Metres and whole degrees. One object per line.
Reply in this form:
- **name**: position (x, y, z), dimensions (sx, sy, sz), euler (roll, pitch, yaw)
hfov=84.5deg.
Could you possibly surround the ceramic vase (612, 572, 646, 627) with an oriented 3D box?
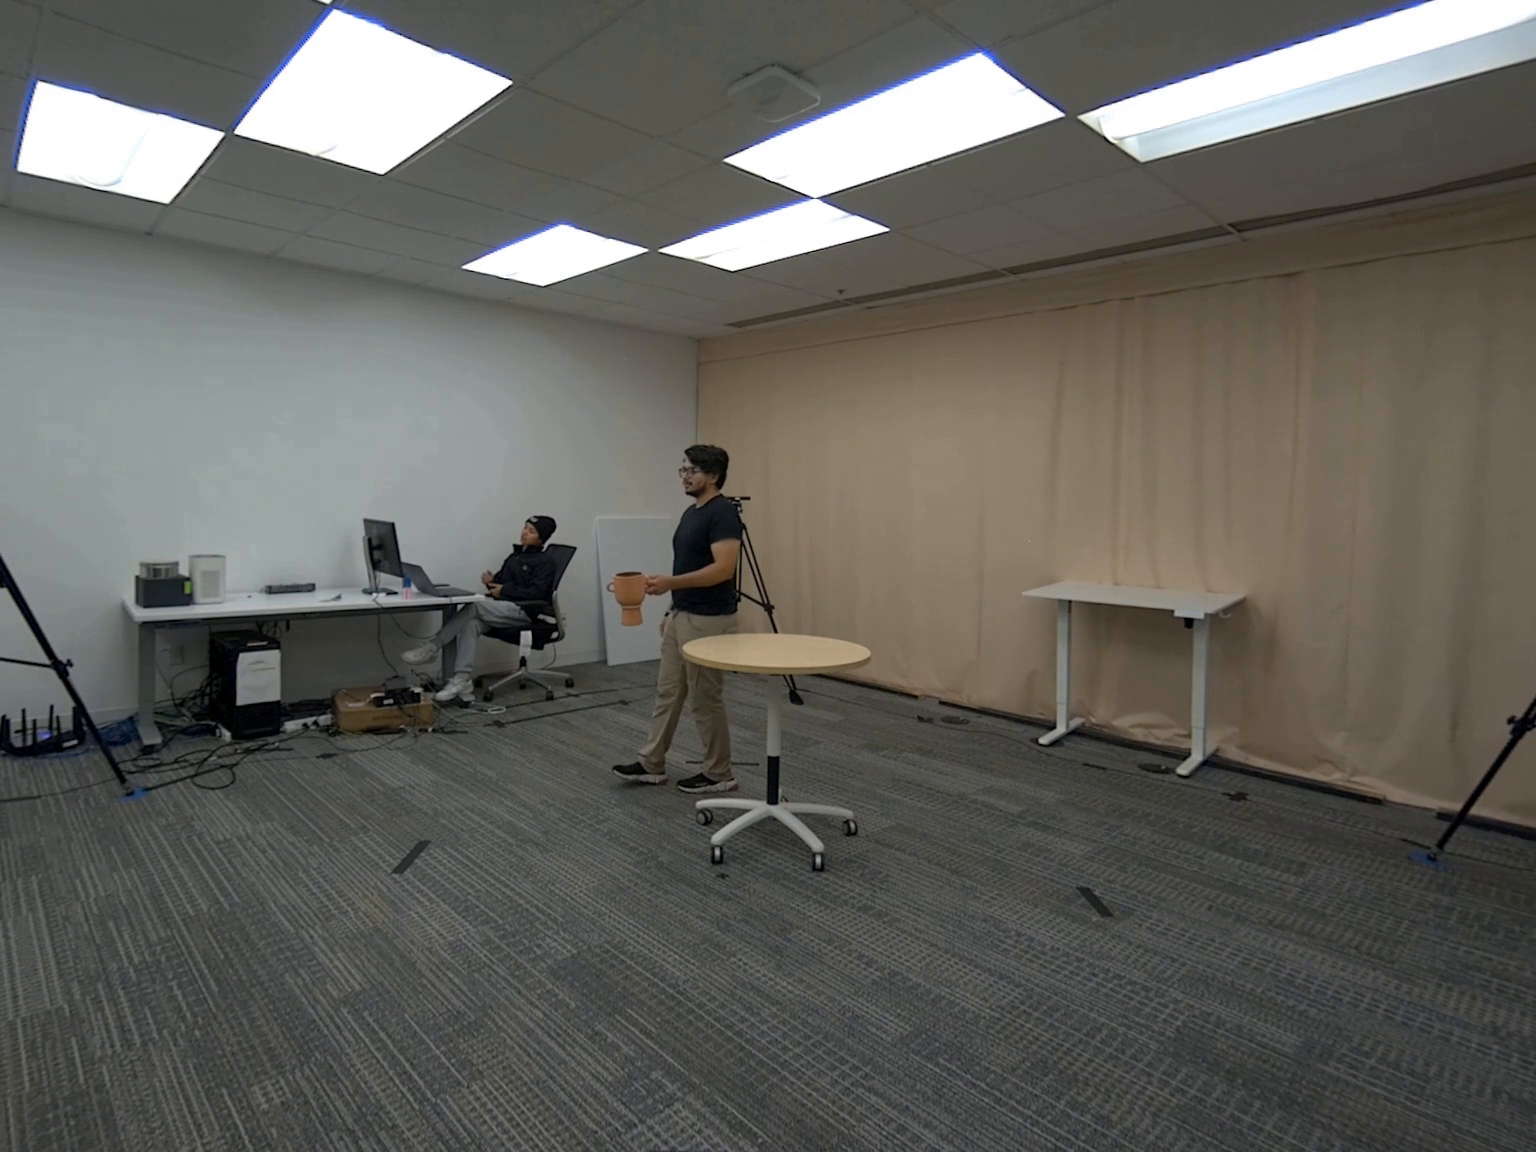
- **ceramic vase**: position (-0.617, 0.098, 3.682), dimensions (0.162, 0.218, 0.133), euler (4, 10, 27)
